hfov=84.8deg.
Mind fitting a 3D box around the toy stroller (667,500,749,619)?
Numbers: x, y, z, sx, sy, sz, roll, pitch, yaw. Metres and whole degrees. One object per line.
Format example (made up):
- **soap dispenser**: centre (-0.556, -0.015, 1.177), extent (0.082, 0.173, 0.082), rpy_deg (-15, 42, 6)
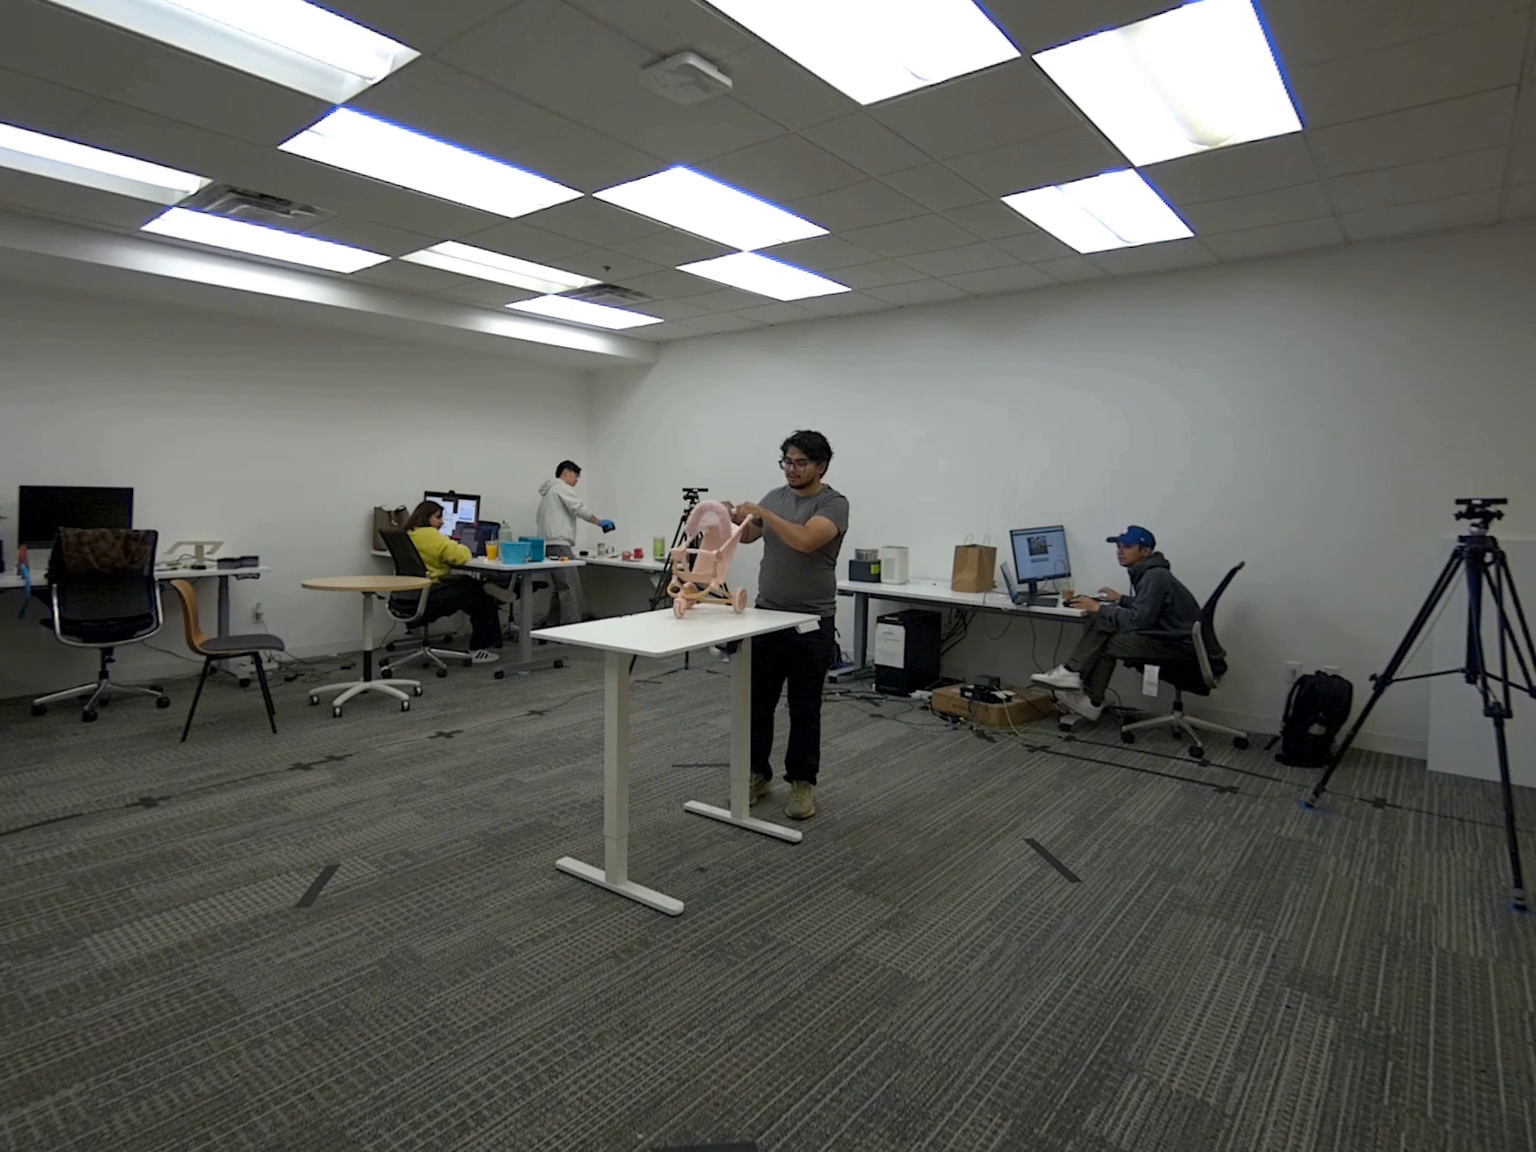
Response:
- **toy stroller**: centre (-0.266, -0.075, 3.467), extent (0.290, 0.539, 0.328), rpy_deg (3, -12, 33)
